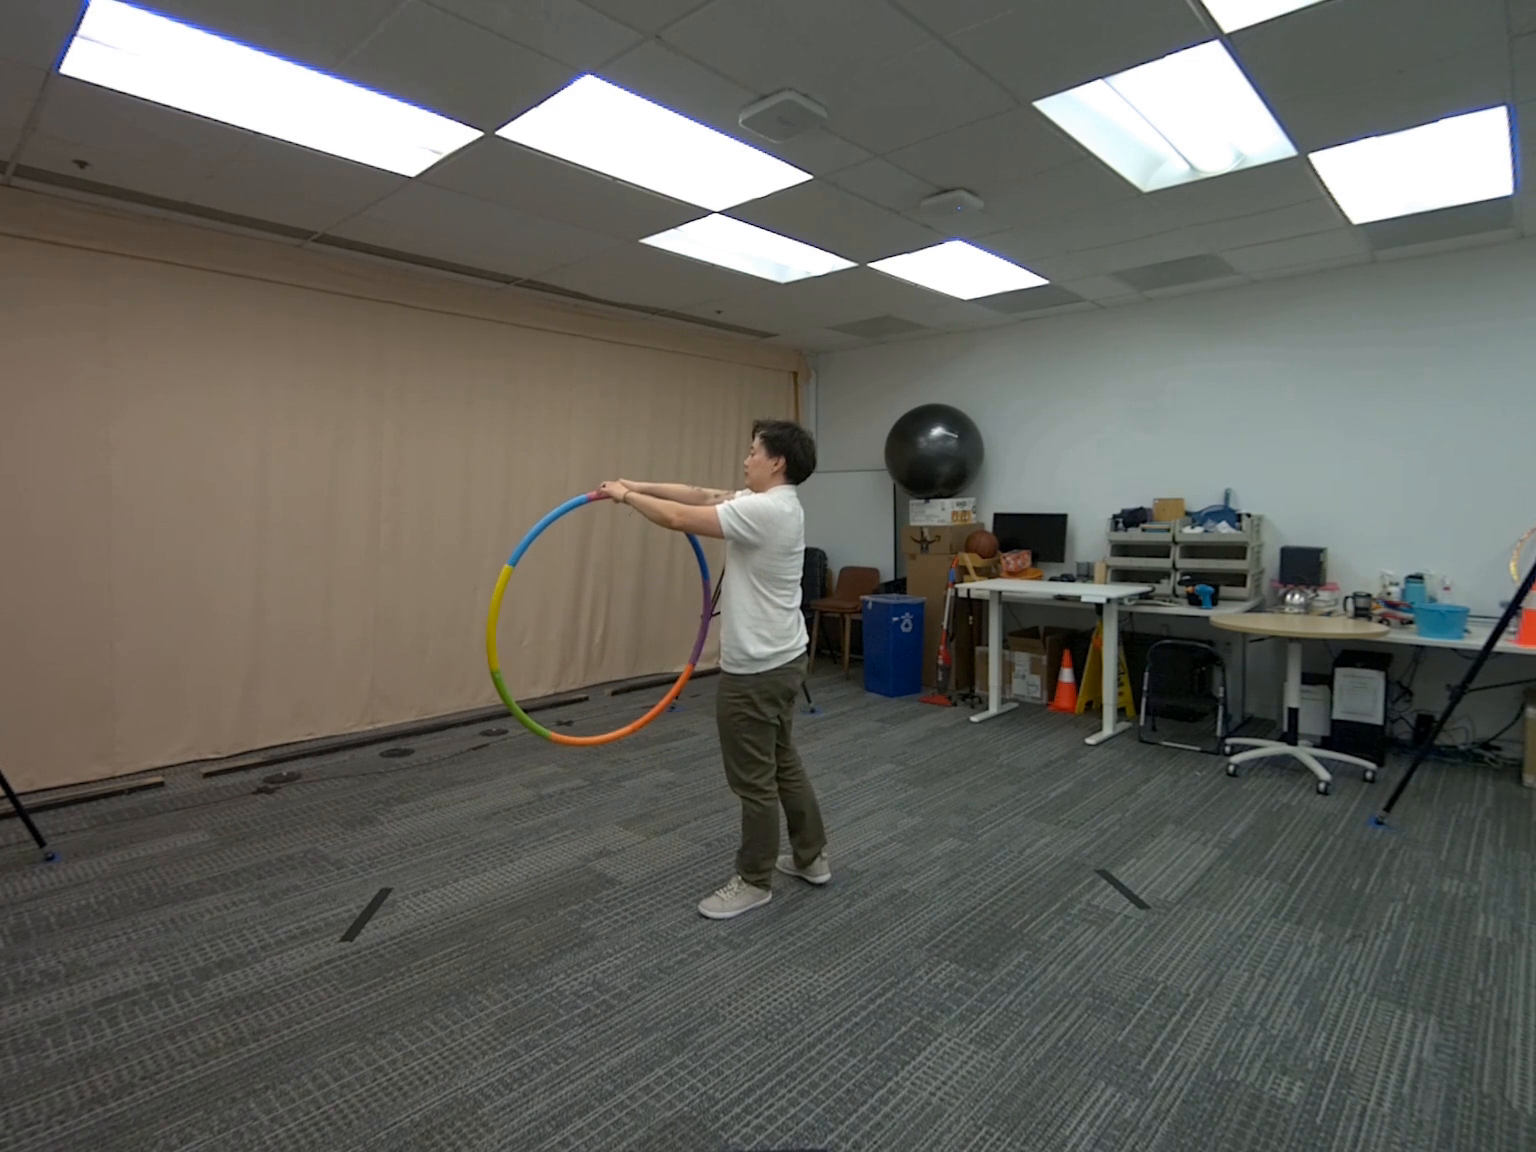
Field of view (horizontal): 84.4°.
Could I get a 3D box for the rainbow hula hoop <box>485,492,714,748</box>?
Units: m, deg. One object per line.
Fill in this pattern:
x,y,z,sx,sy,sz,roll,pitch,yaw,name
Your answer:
-0.592,0.167,3.187,0.949,0.973,0.037,-3,13,-40,rainbow hula hoop
